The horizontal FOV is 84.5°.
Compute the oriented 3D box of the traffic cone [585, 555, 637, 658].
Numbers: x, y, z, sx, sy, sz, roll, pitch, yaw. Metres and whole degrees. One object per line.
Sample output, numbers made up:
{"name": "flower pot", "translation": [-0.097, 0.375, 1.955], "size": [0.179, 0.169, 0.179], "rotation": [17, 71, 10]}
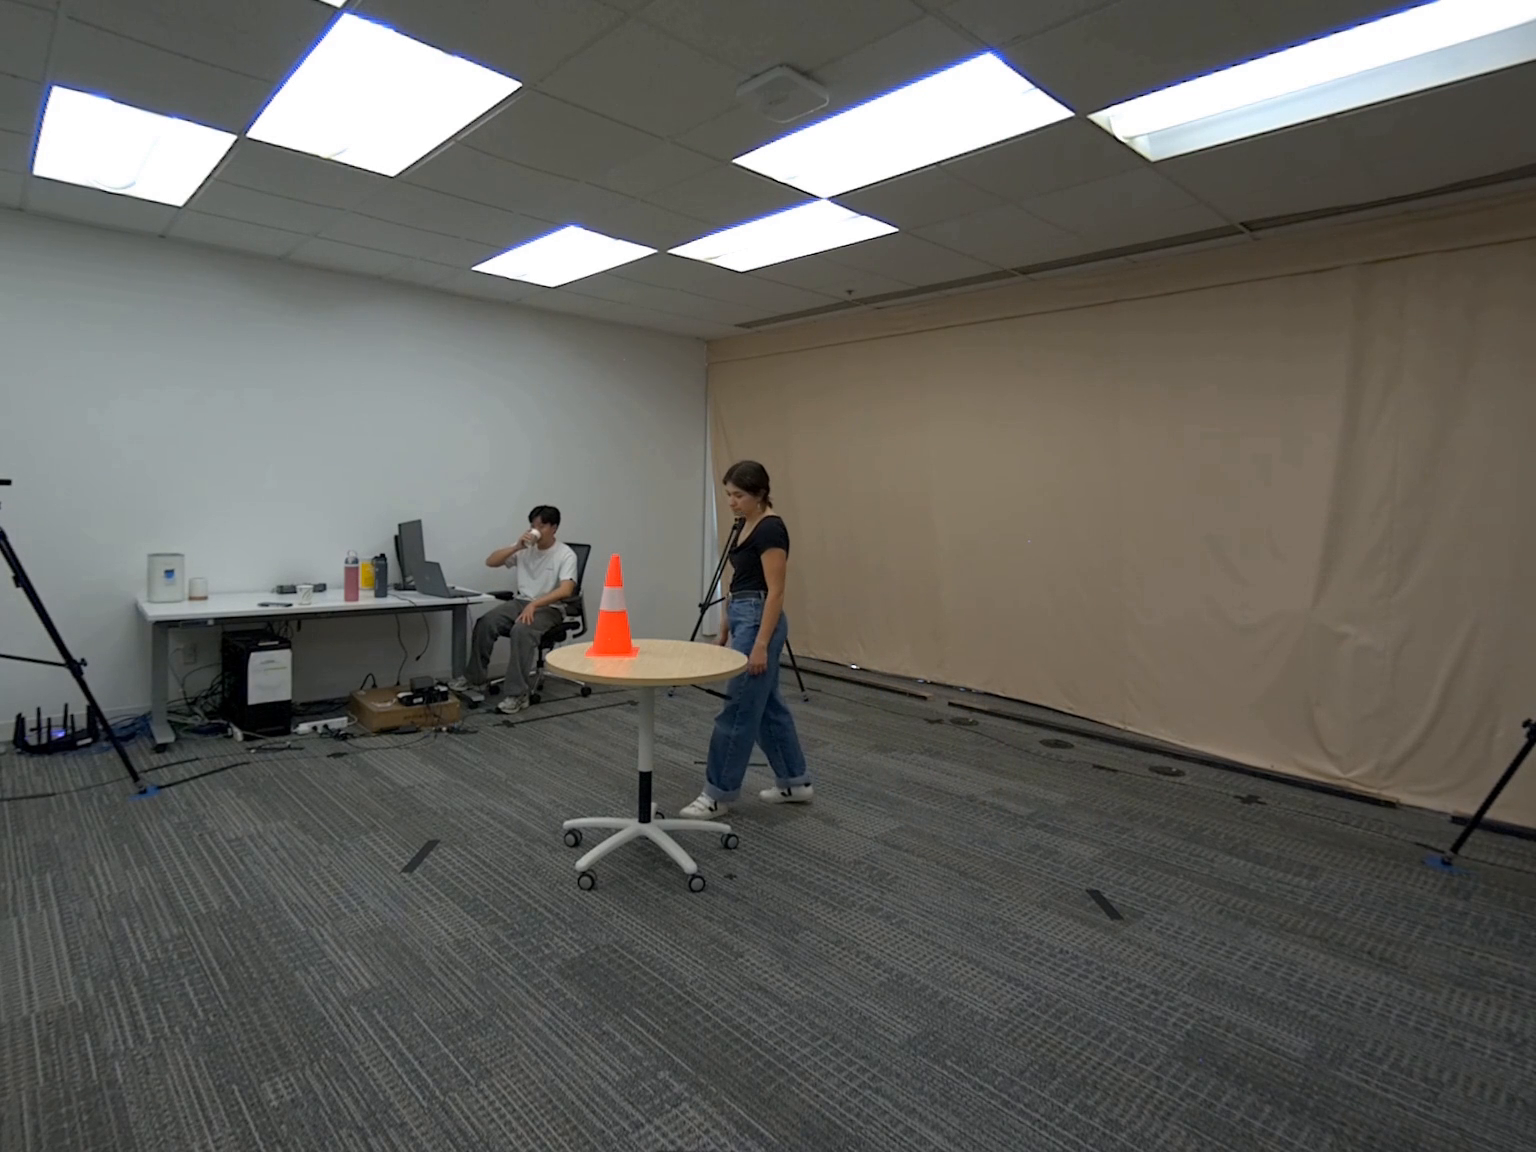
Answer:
{"name": "traffic cone", "translation": [-0.609, 0.114, 3.268], "size": [0.204, 0.383, 0.205], "rotation": [3, 4, -7]}
